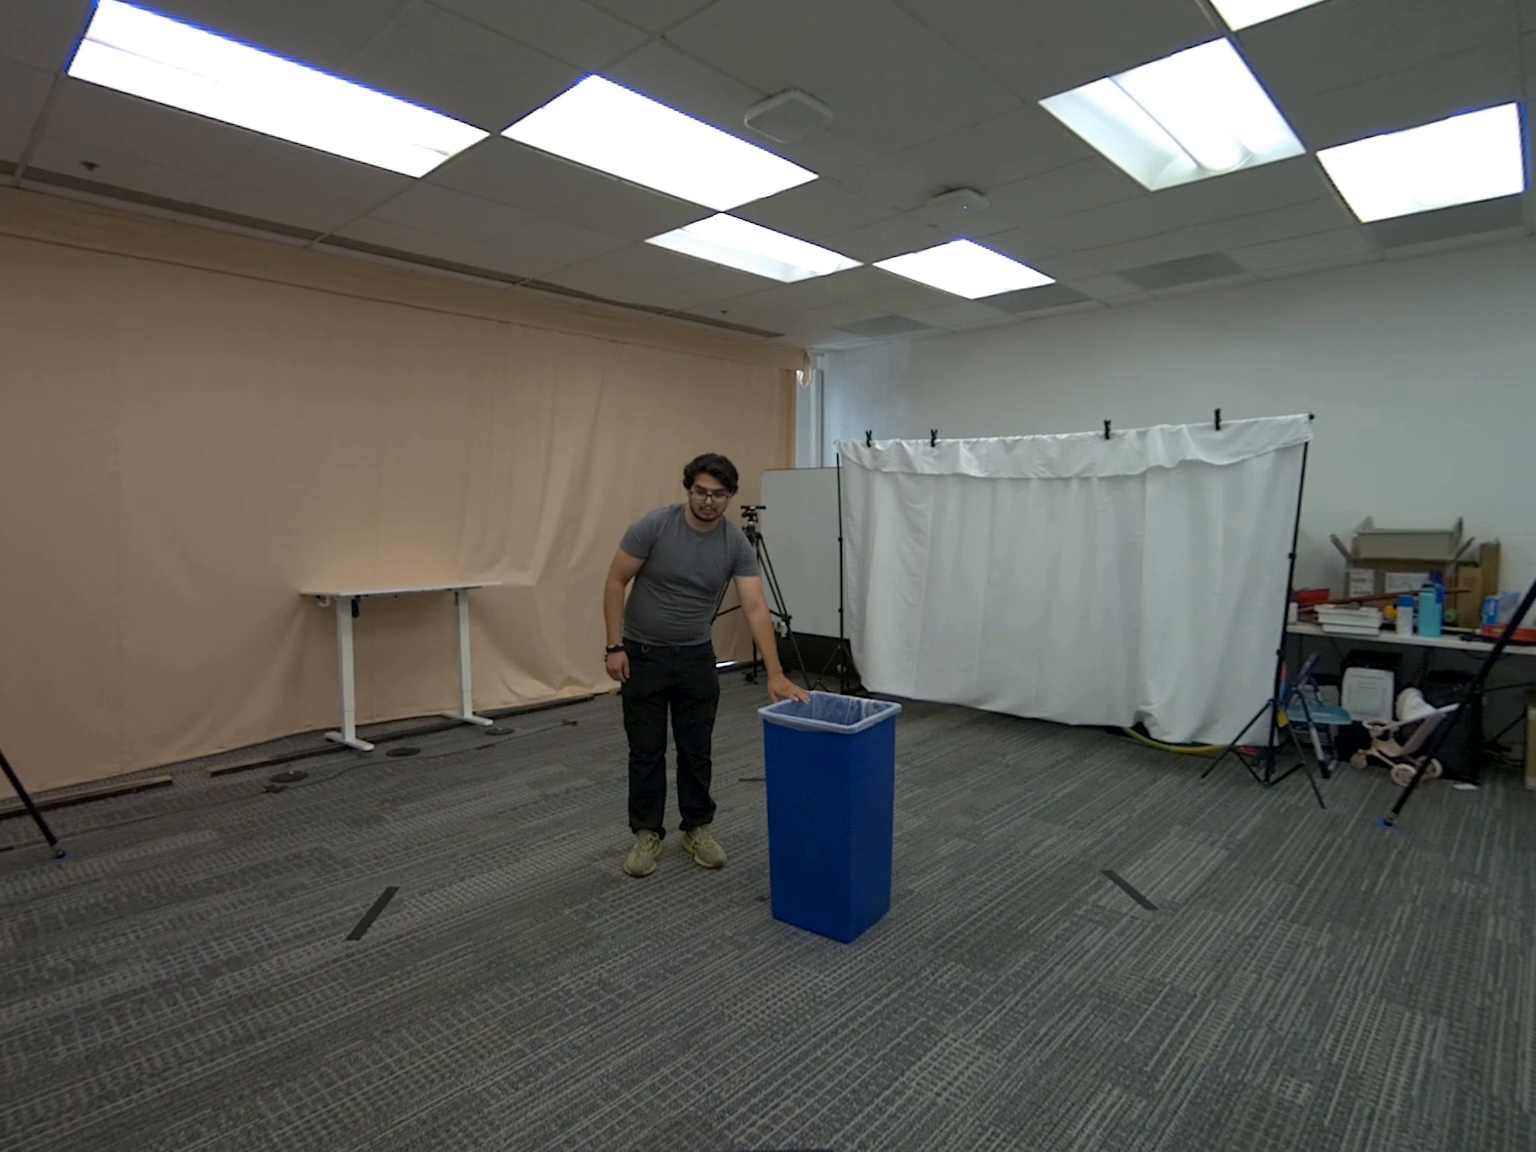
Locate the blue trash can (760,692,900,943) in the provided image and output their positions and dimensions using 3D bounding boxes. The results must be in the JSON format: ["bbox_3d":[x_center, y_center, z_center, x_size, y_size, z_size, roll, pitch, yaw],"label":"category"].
[{"bbox_3d":[0.215,0.796,2.847,0.390,0.712,0.363,2,4,36],"label":"blue trash can"}]
